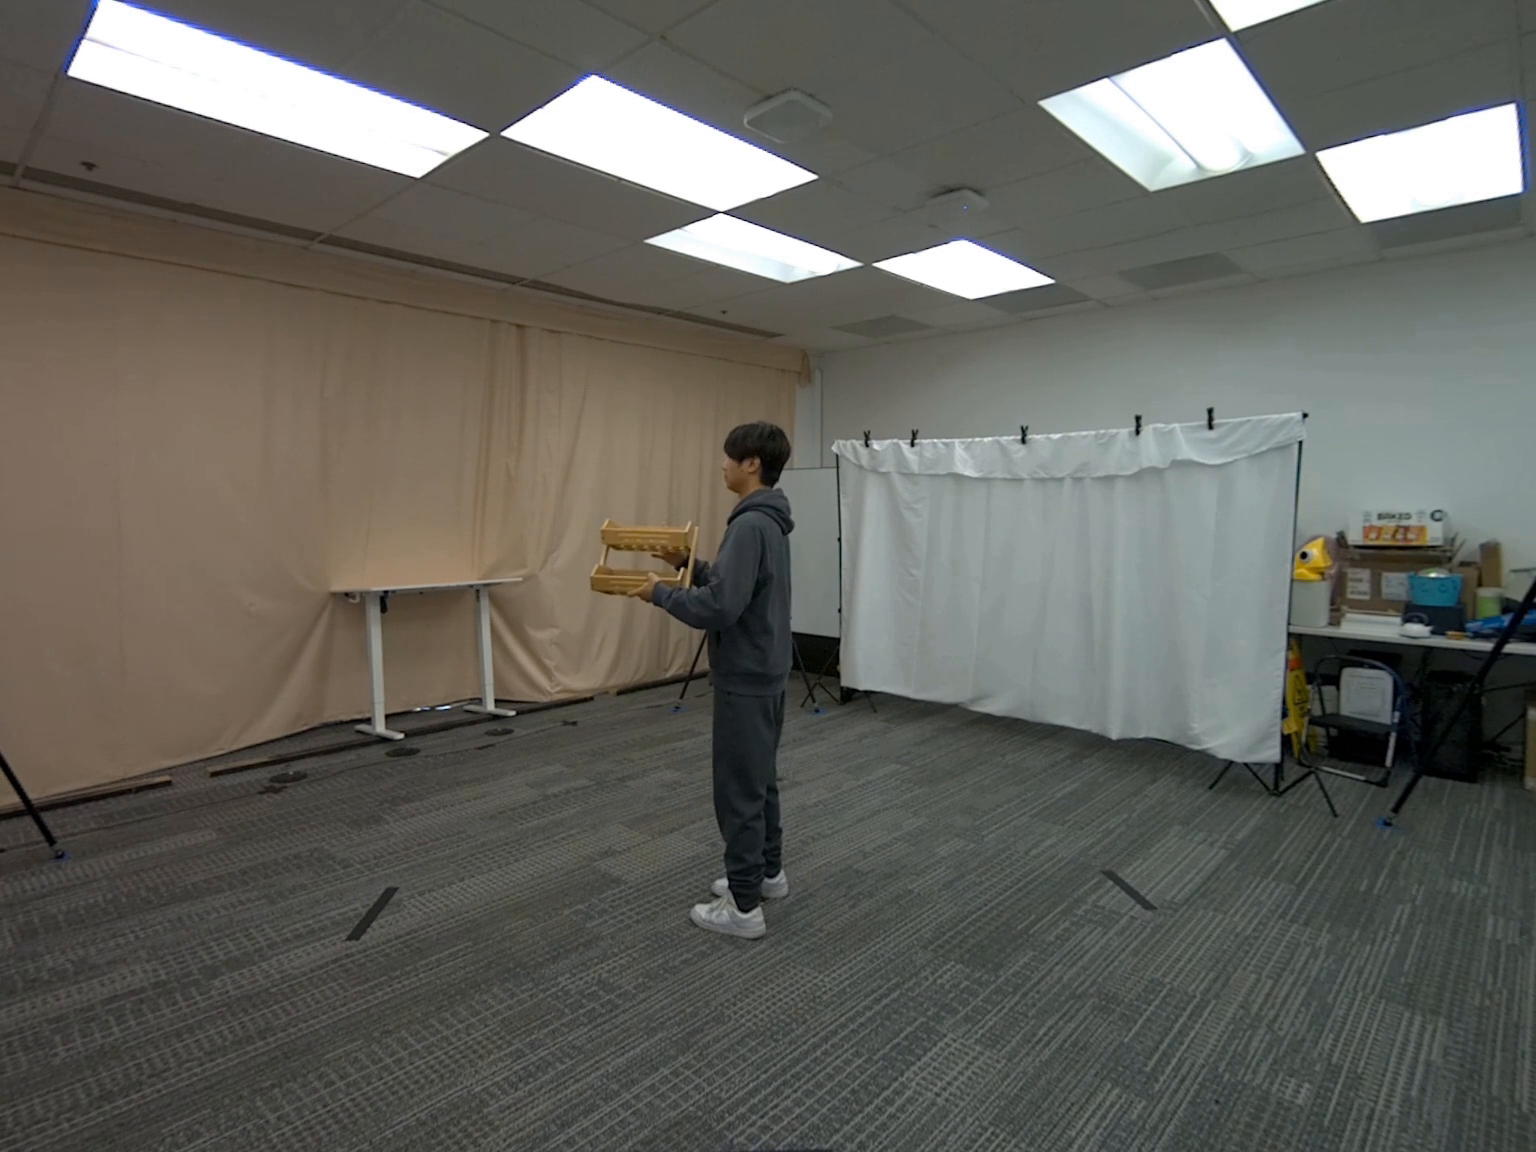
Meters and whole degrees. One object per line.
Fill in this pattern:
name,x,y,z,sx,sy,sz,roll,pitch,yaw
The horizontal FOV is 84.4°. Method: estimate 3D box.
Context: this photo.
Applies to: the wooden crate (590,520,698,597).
wooden crate,-0.418,-0.063,2.905,0.327,0.274,0.298,3,-8,7
